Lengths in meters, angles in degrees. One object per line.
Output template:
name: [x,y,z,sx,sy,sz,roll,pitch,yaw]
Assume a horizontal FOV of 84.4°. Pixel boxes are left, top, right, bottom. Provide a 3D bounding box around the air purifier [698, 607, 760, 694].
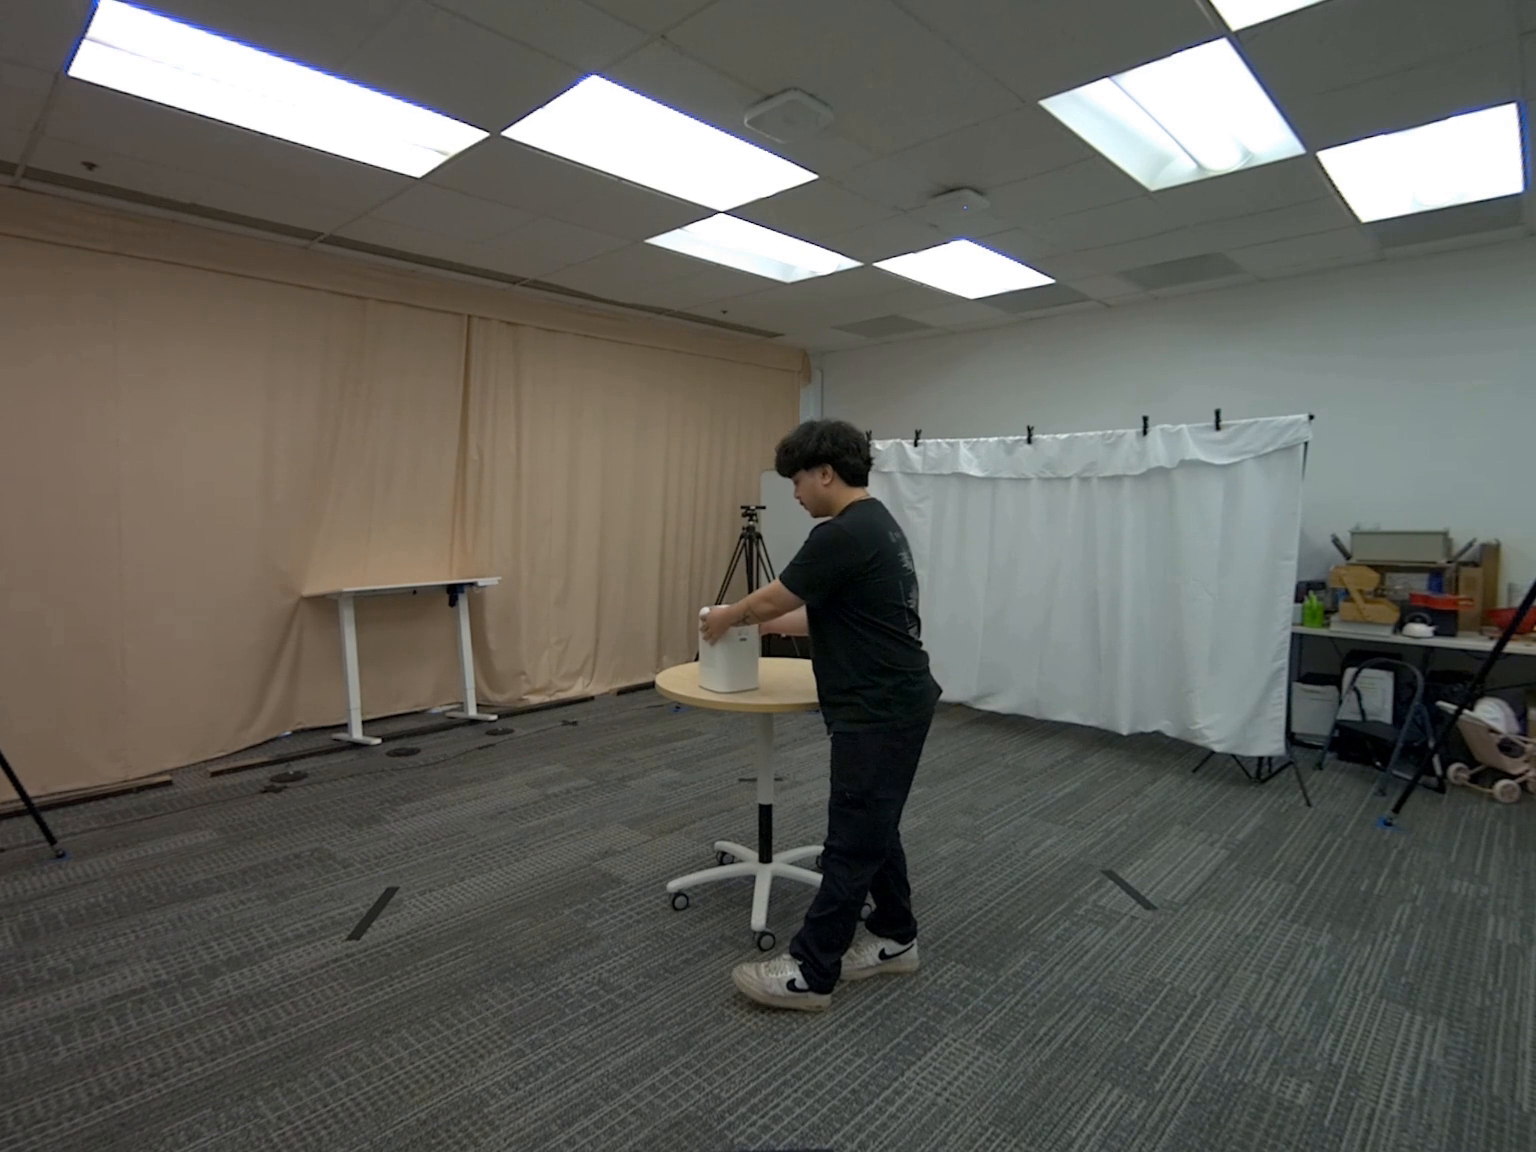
air purifier: [-0.125,0.237,2.774,0.166,0.265,0.177,-3,4,-33]
